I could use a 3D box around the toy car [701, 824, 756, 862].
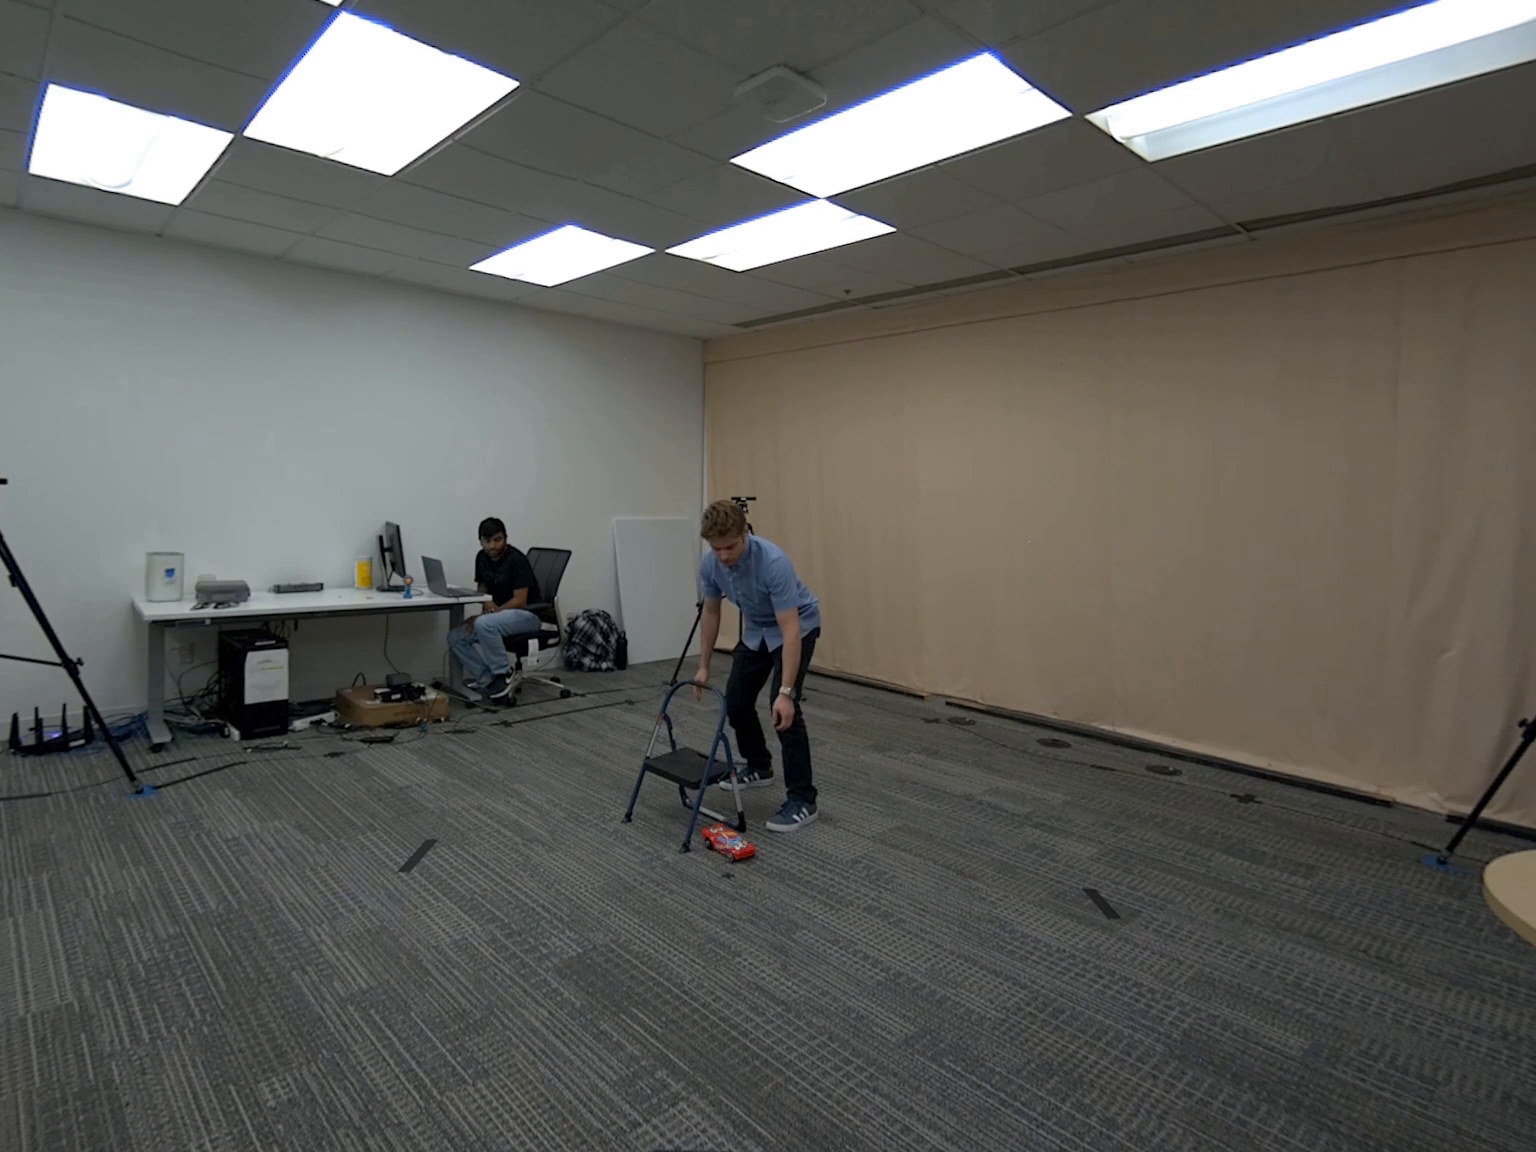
[{"bbox_3d":[-0.171,1.058,3.324,0.127,0.082,0.262,-2,16,-37],"label":"toy car"}]
